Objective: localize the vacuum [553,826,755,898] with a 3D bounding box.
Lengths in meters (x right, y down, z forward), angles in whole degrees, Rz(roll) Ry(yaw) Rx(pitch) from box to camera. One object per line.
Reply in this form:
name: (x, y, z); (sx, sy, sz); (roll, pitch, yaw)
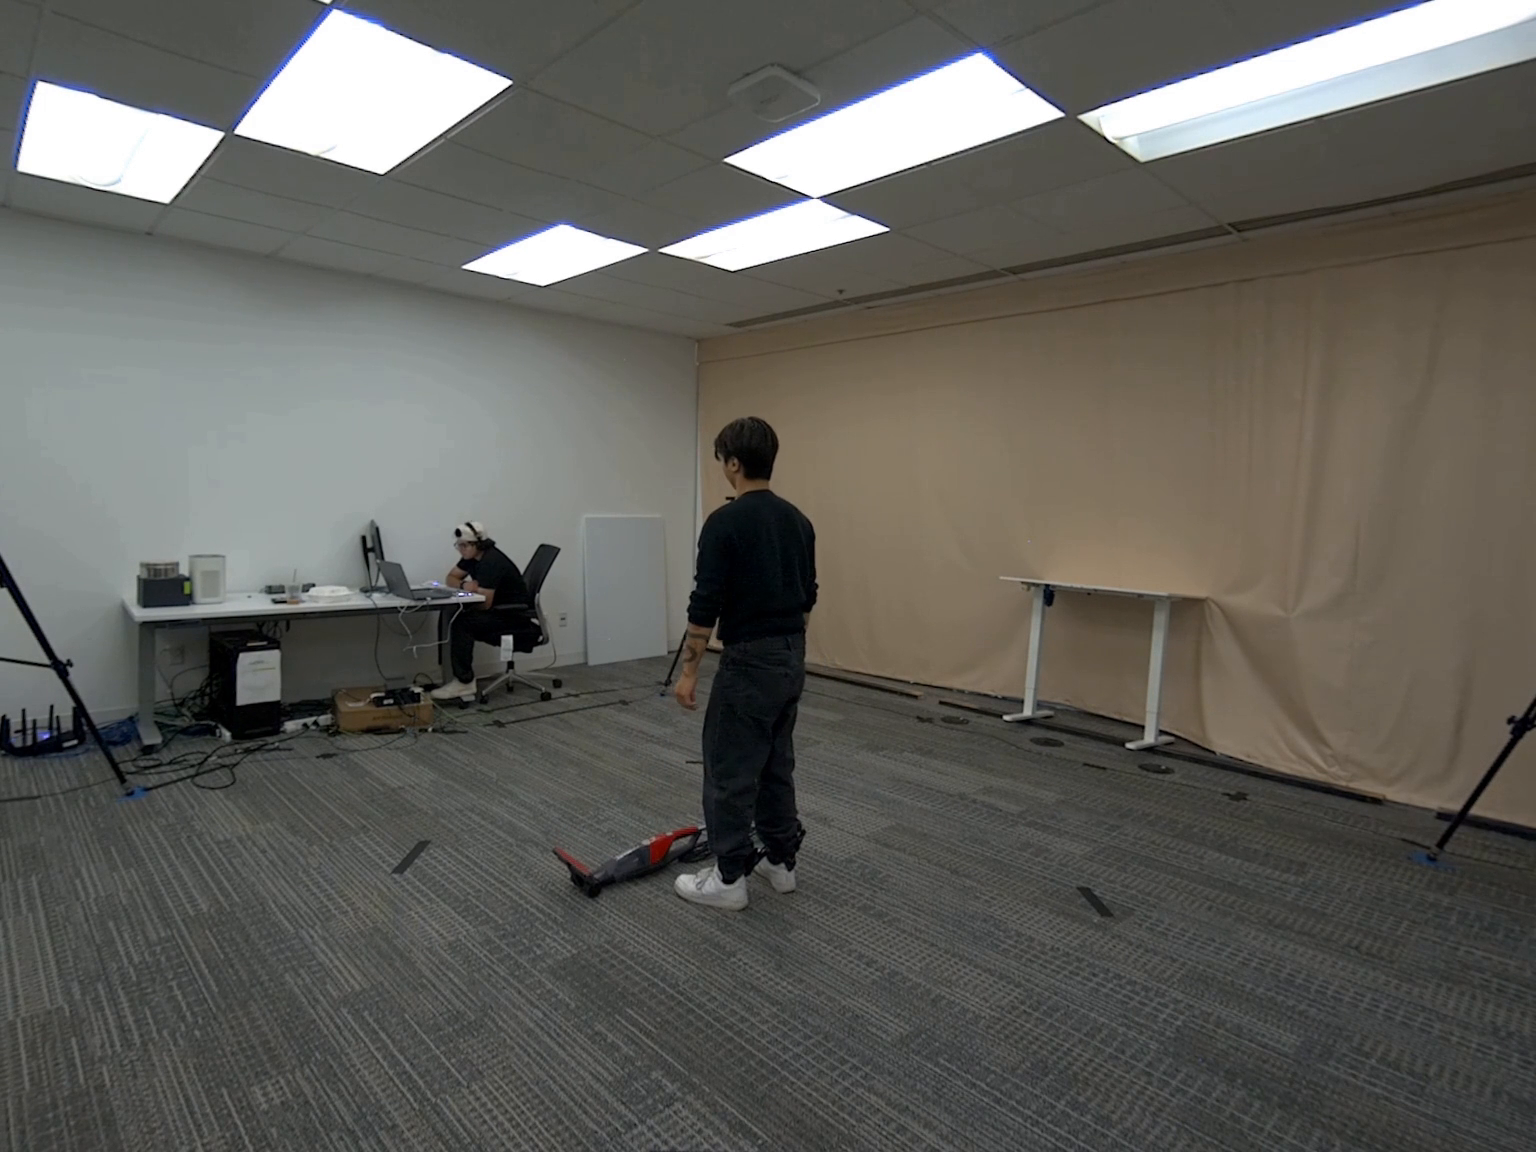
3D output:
vacuum: (-0.282, 1.022, 3.270); (1.025, 0.143, 0.259); (-2, 9, -40)
